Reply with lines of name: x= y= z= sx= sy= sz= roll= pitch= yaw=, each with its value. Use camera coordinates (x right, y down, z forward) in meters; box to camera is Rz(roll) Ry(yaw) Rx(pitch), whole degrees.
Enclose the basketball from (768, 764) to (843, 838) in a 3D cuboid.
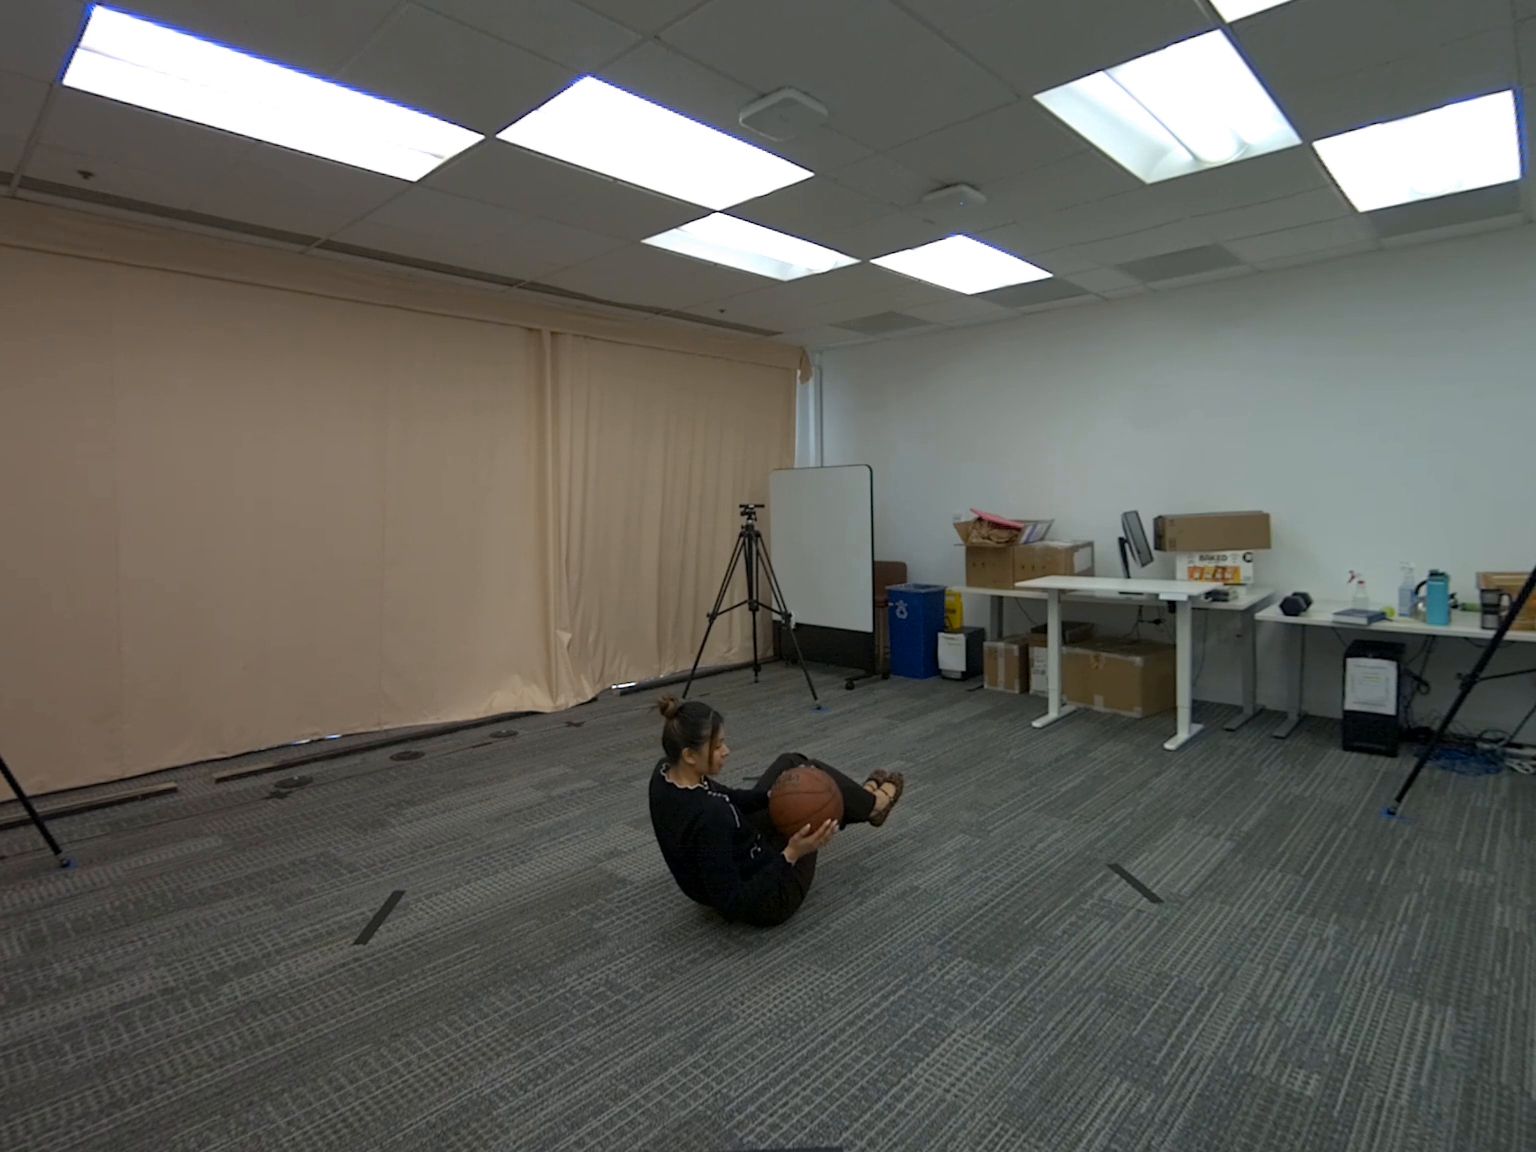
basketball: x=0.116 y=0.723 z=2.664 sx=0.236 sy=0.235 sz=0.237 roll=-1 pitch=4 yaw=-2
